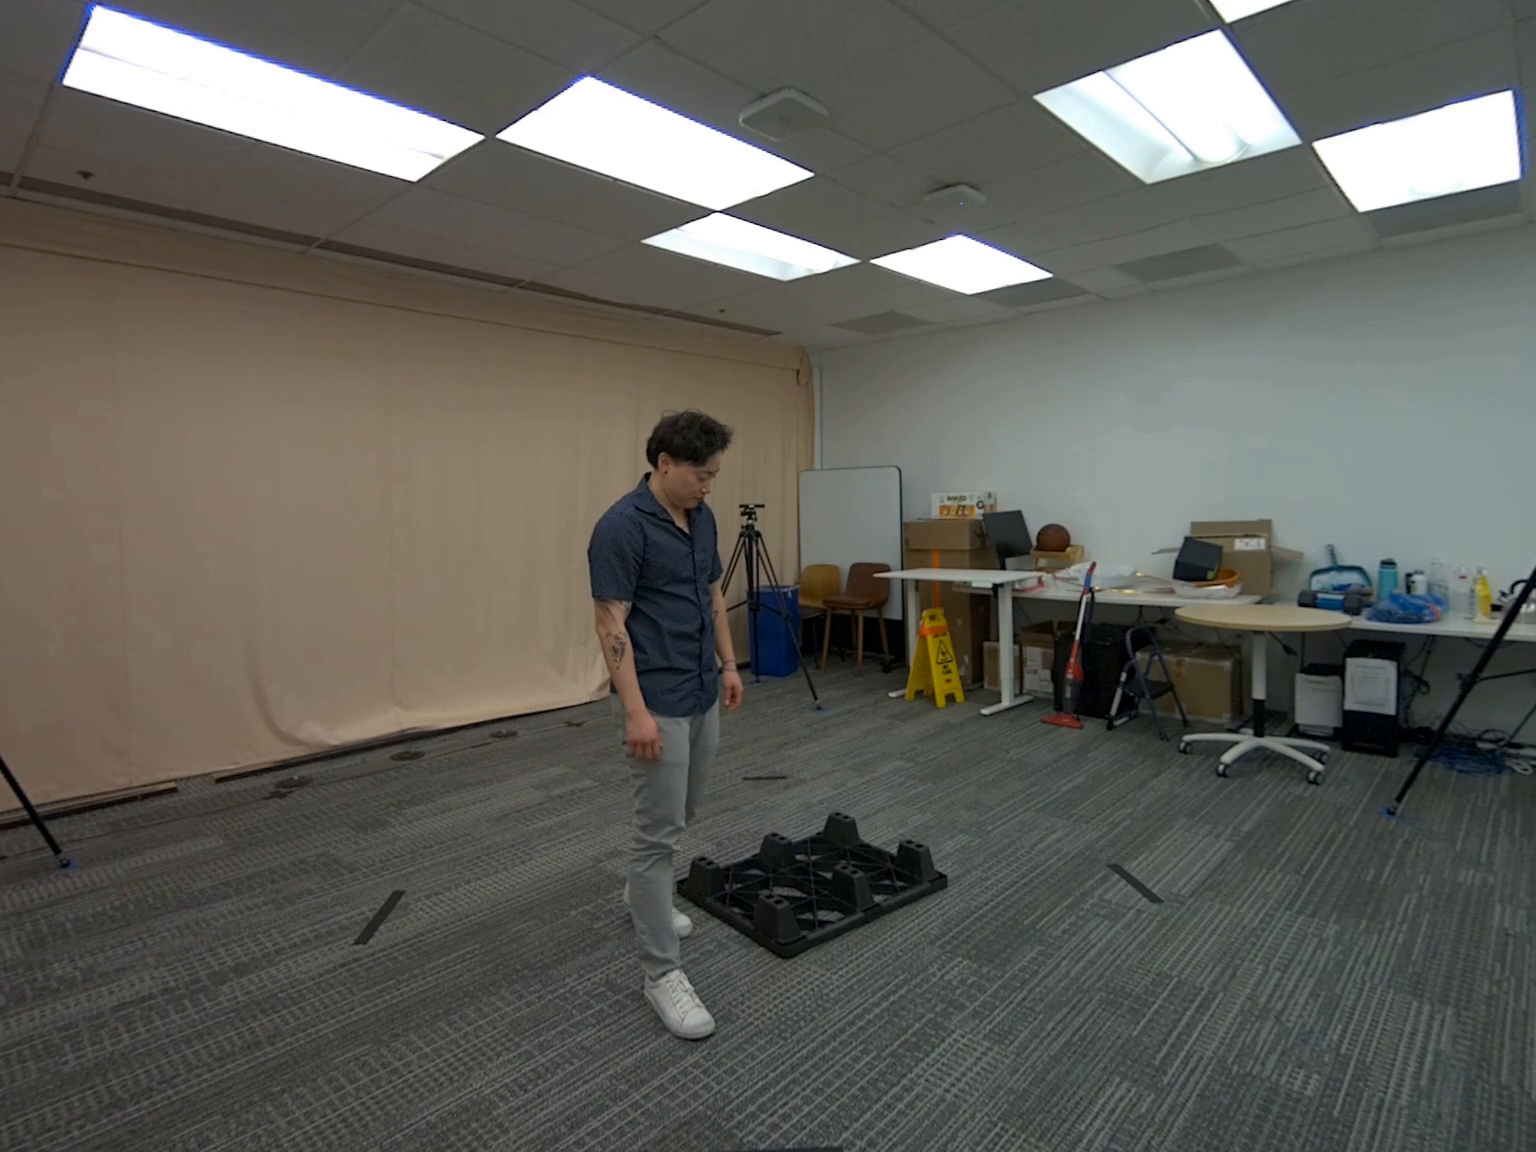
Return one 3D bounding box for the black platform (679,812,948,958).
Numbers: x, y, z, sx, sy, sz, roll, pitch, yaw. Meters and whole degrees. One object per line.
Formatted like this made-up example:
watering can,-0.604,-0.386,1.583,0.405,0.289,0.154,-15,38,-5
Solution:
black platform,0.163,1.065,3.031,0.782,0.143,0.625,-6,6,-39
